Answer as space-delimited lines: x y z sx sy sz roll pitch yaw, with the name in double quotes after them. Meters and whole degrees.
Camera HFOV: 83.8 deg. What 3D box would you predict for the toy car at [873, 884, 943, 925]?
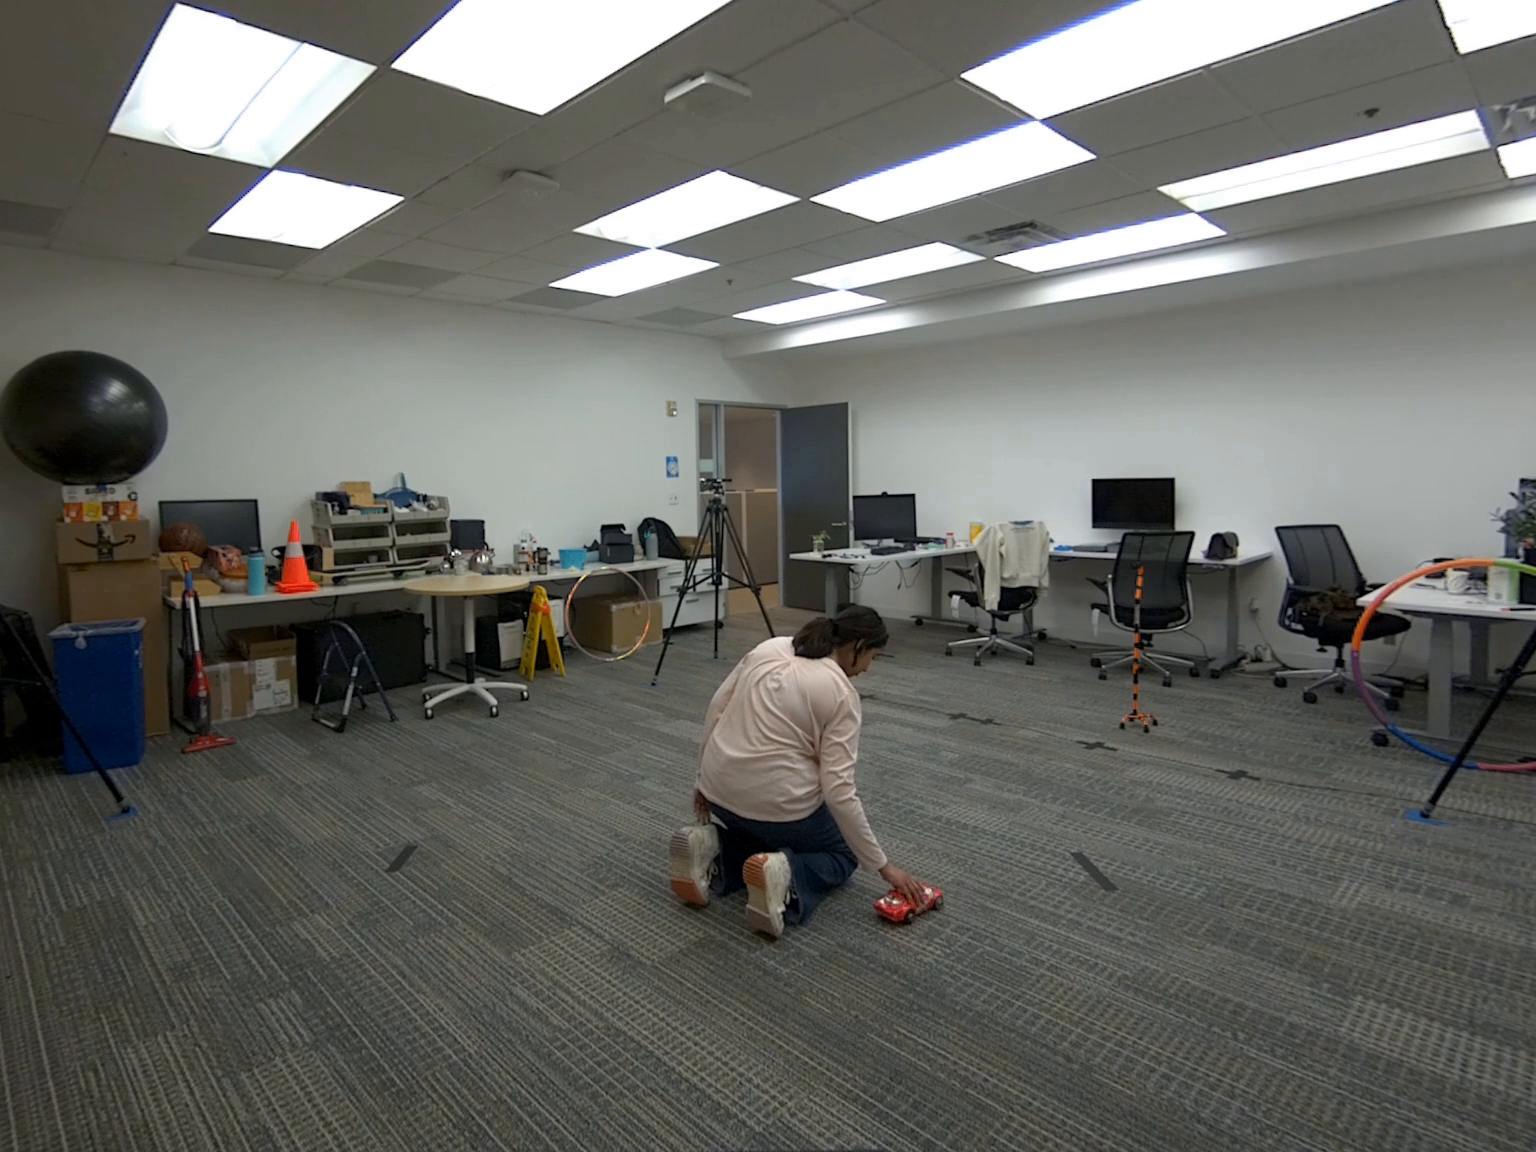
0.447 1.040 2.732 0.246 0.083 0.134 7 0 -40 "toy car"
